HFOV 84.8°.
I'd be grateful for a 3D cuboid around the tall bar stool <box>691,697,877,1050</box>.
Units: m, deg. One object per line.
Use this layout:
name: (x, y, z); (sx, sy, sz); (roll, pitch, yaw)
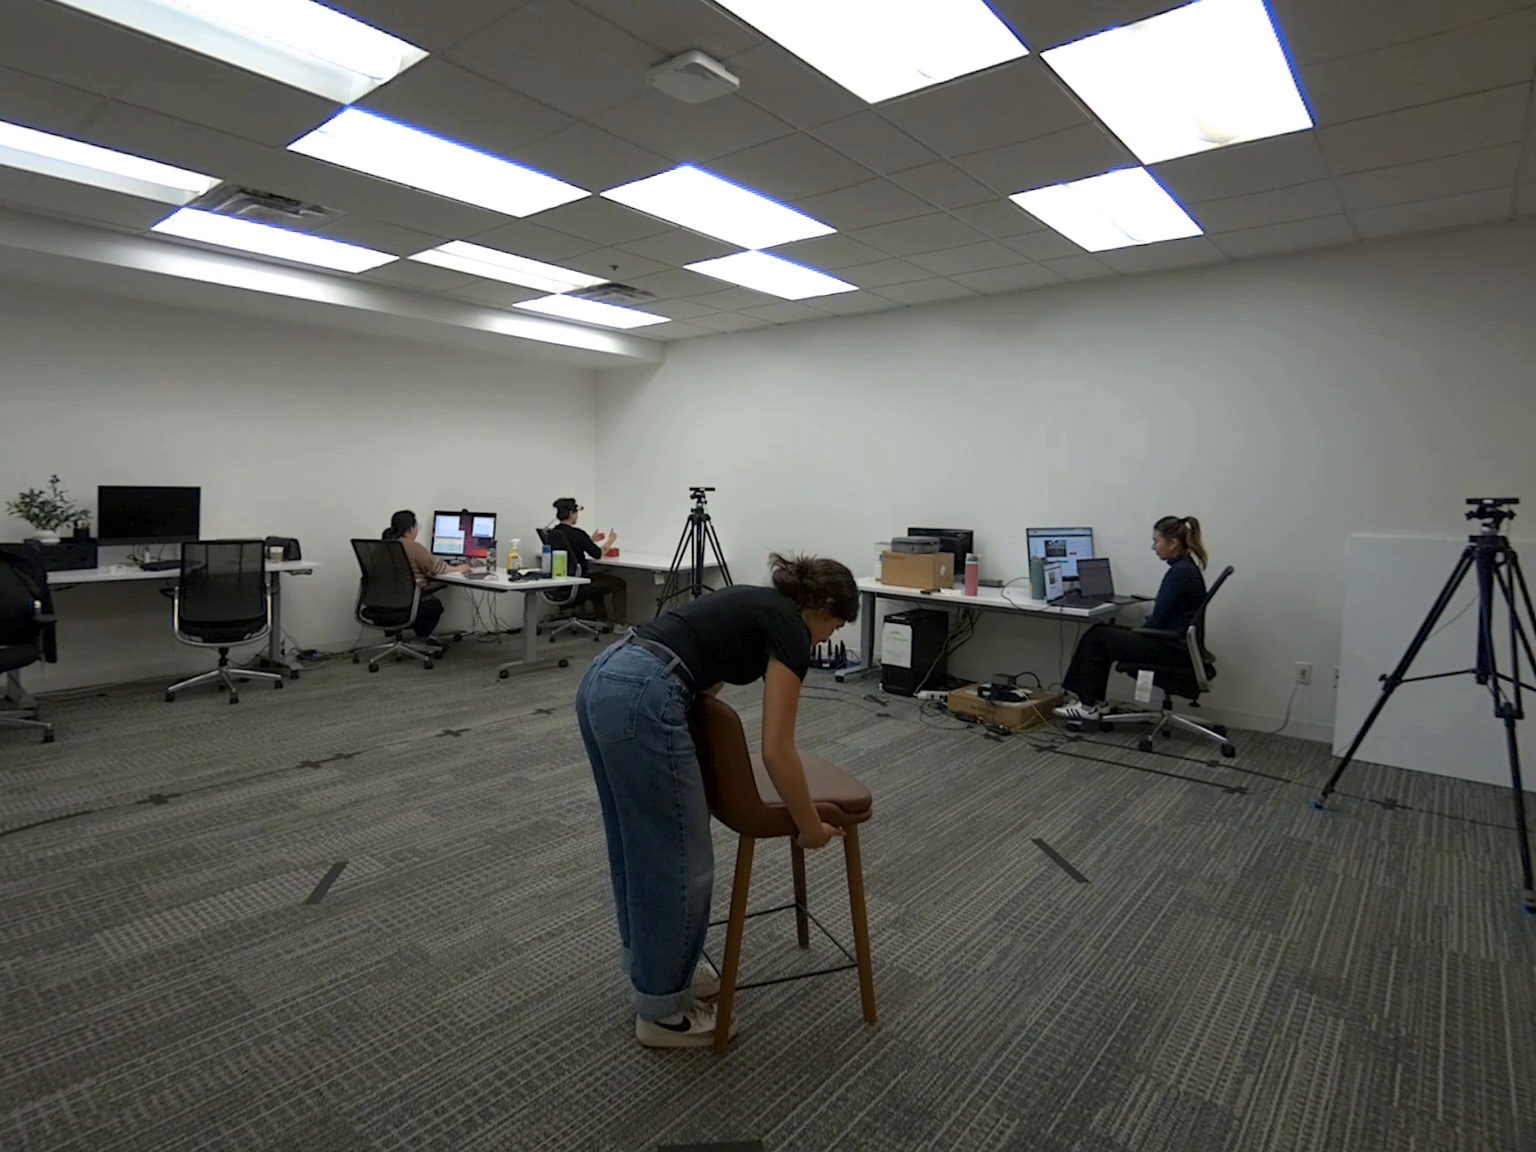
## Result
tall bar stool: (0.002, 0.715, 2.309); (0.457, 0.887, 0.468); (-2, 4, -23)
